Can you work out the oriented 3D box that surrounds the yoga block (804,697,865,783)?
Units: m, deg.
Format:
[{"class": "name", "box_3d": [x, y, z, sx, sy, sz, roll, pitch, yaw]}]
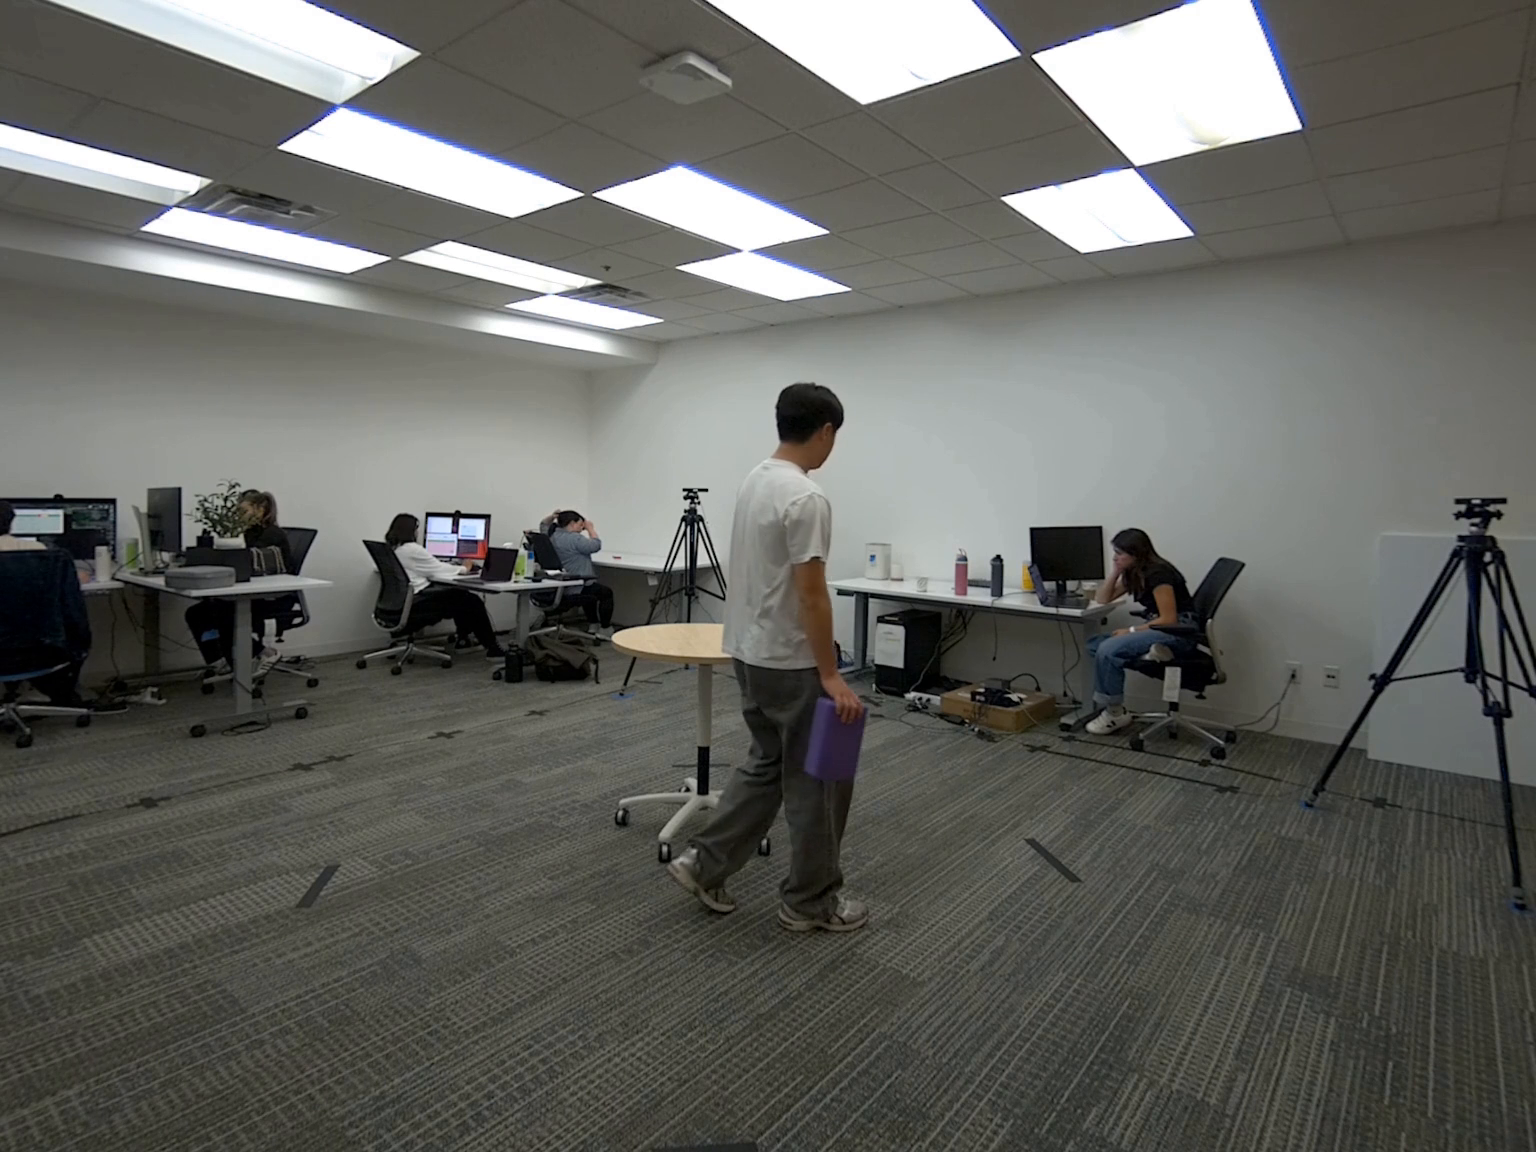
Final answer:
[{"class": "yoga block", "box_3d": [0.202, 0.479, 2.557, 0.145, 0.229, 0.079, 7, 3, -27]}]
